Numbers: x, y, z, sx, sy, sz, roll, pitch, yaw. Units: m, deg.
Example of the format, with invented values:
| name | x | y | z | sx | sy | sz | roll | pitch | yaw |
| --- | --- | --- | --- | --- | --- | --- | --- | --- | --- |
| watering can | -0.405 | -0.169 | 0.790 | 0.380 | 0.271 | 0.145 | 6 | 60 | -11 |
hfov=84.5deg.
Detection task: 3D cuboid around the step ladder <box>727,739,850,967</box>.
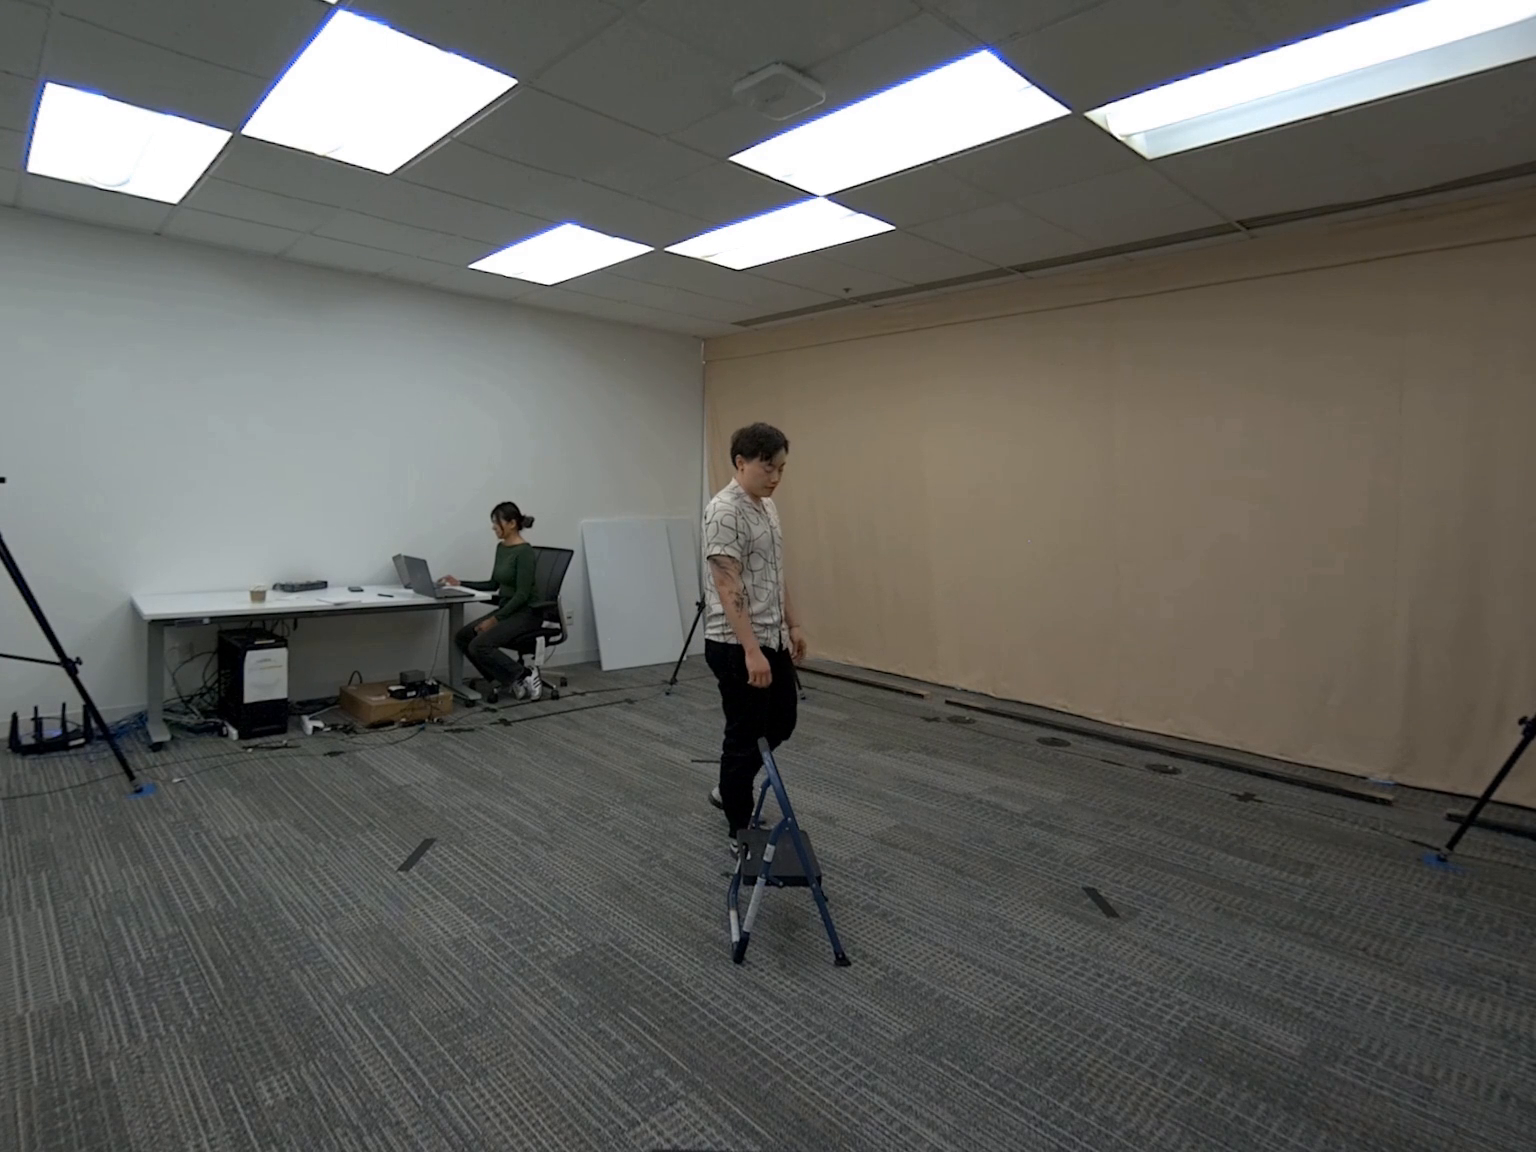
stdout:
| name | x | y | z | sx | sy | sz | roll | pitch | yaw |
| --- | --- | --- | --- | --- | --- | --- | --- | --- | --- |
| step ladder | 0.045 | 0.844 | 2.696 | 0.348 | 0.605 | 0.433 | 1 | 3 | -5 |
